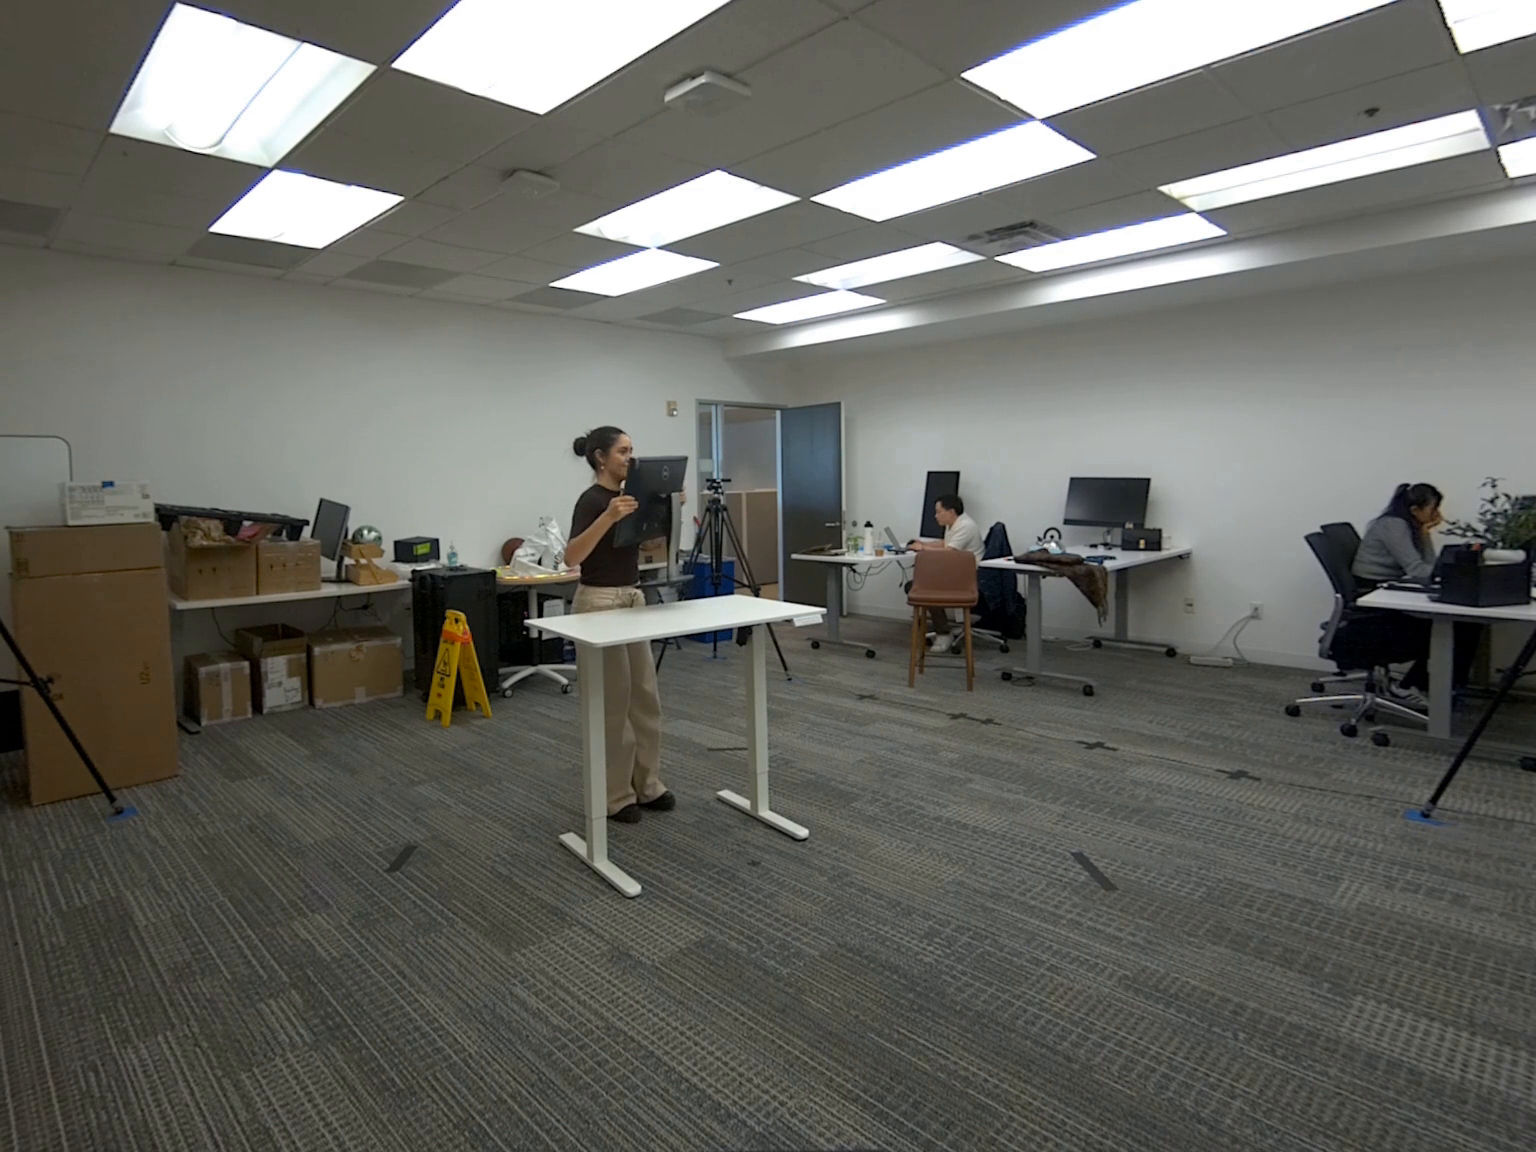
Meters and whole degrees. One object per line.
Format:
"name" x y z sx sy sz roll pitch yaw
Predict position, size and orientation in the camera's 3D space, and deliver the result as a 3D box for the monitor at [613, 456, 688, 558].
"monitor" -0.431 -0.223 3.472 0.190 0.520 0.533 -1 7 17
